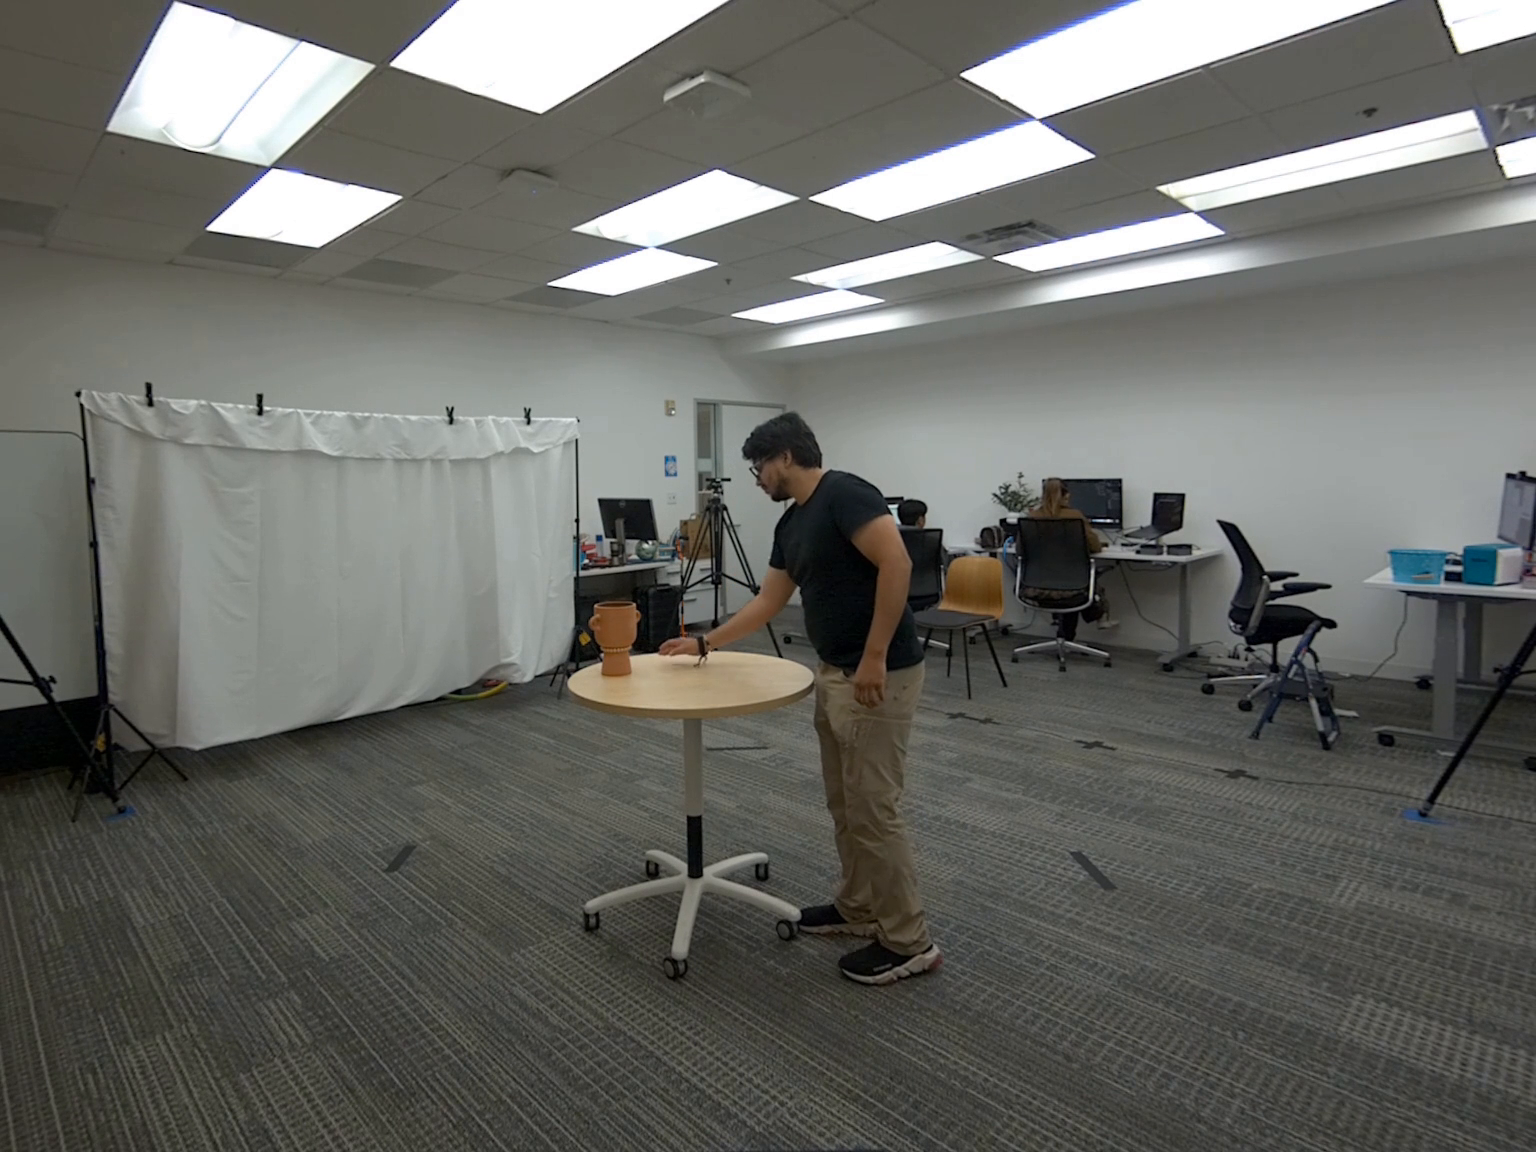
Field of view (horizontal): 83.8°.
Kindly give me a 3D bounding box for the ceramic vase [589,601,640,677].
[{"bbox_3d":[-0.473,0.198,2.729,0.158,0.219,0.136,-2,6,-8],"label":"ceramic vase"}]
